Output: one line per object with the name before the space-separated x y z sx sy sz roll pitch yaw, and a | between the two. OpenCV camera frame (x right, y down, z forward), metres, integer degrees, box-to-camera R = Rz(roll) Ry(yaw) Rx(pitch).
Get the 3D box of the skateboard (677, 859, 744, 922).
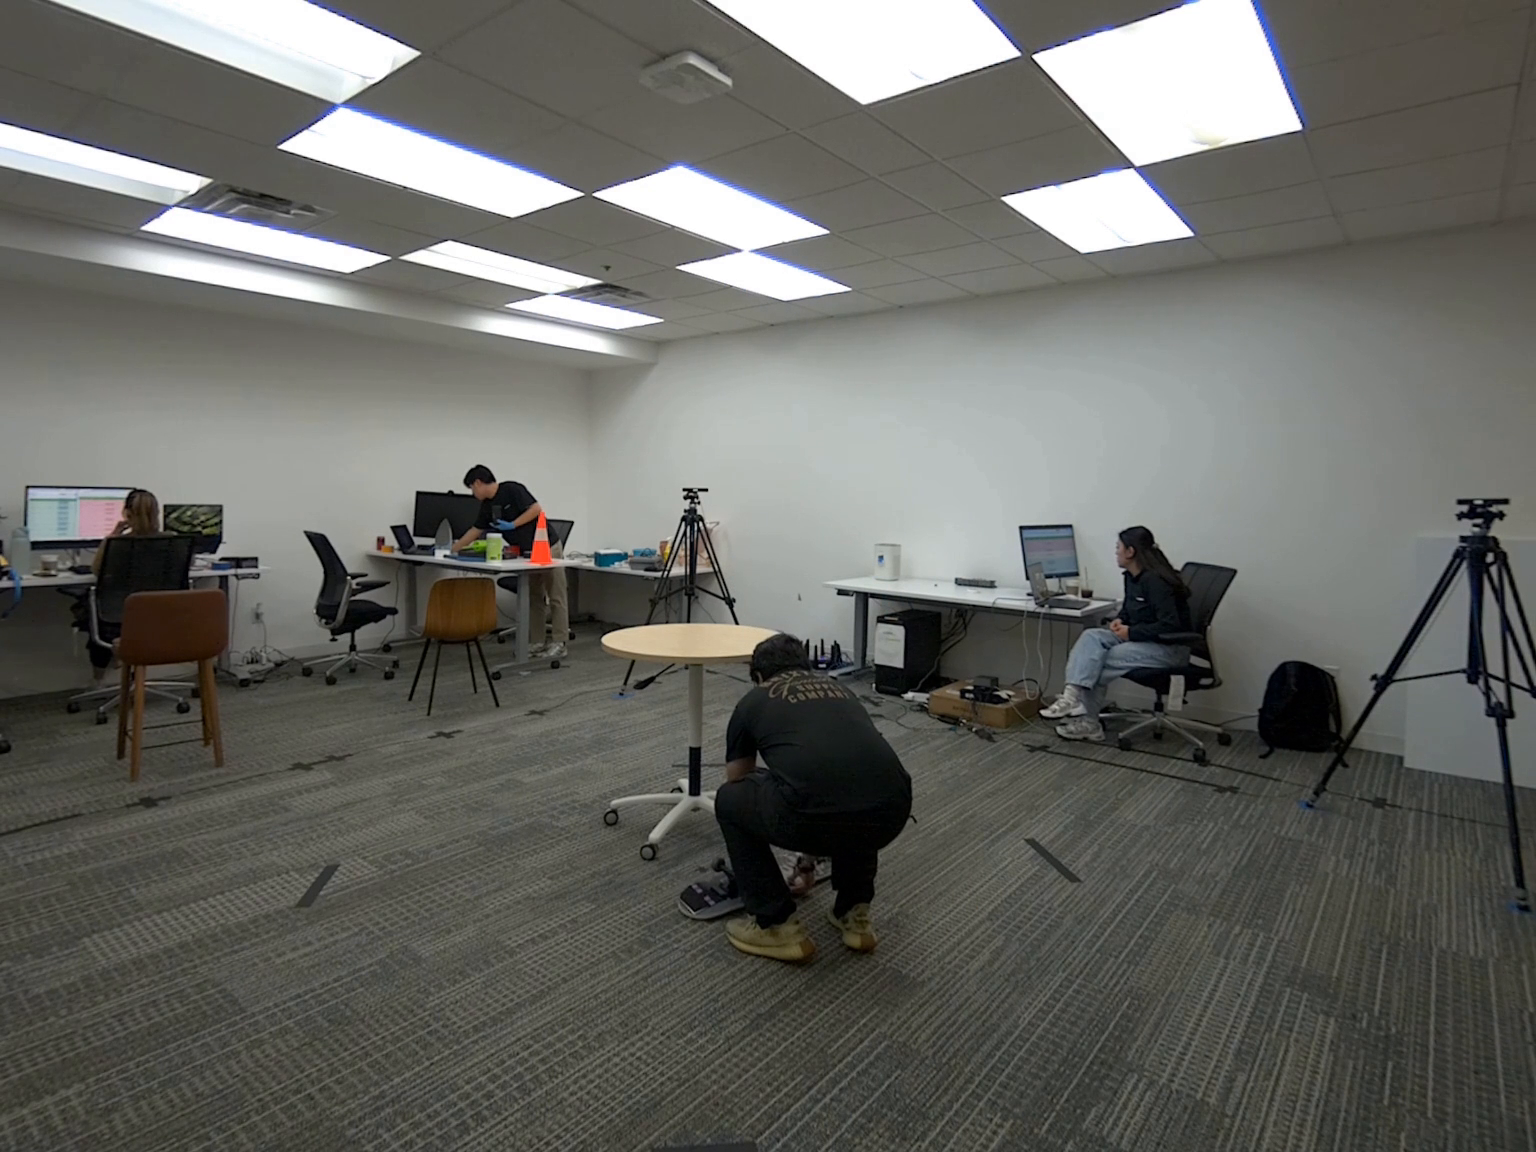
skateboard | 0.018 1.023 2.998 0.762 0.110 0.200 -3 10 -40
